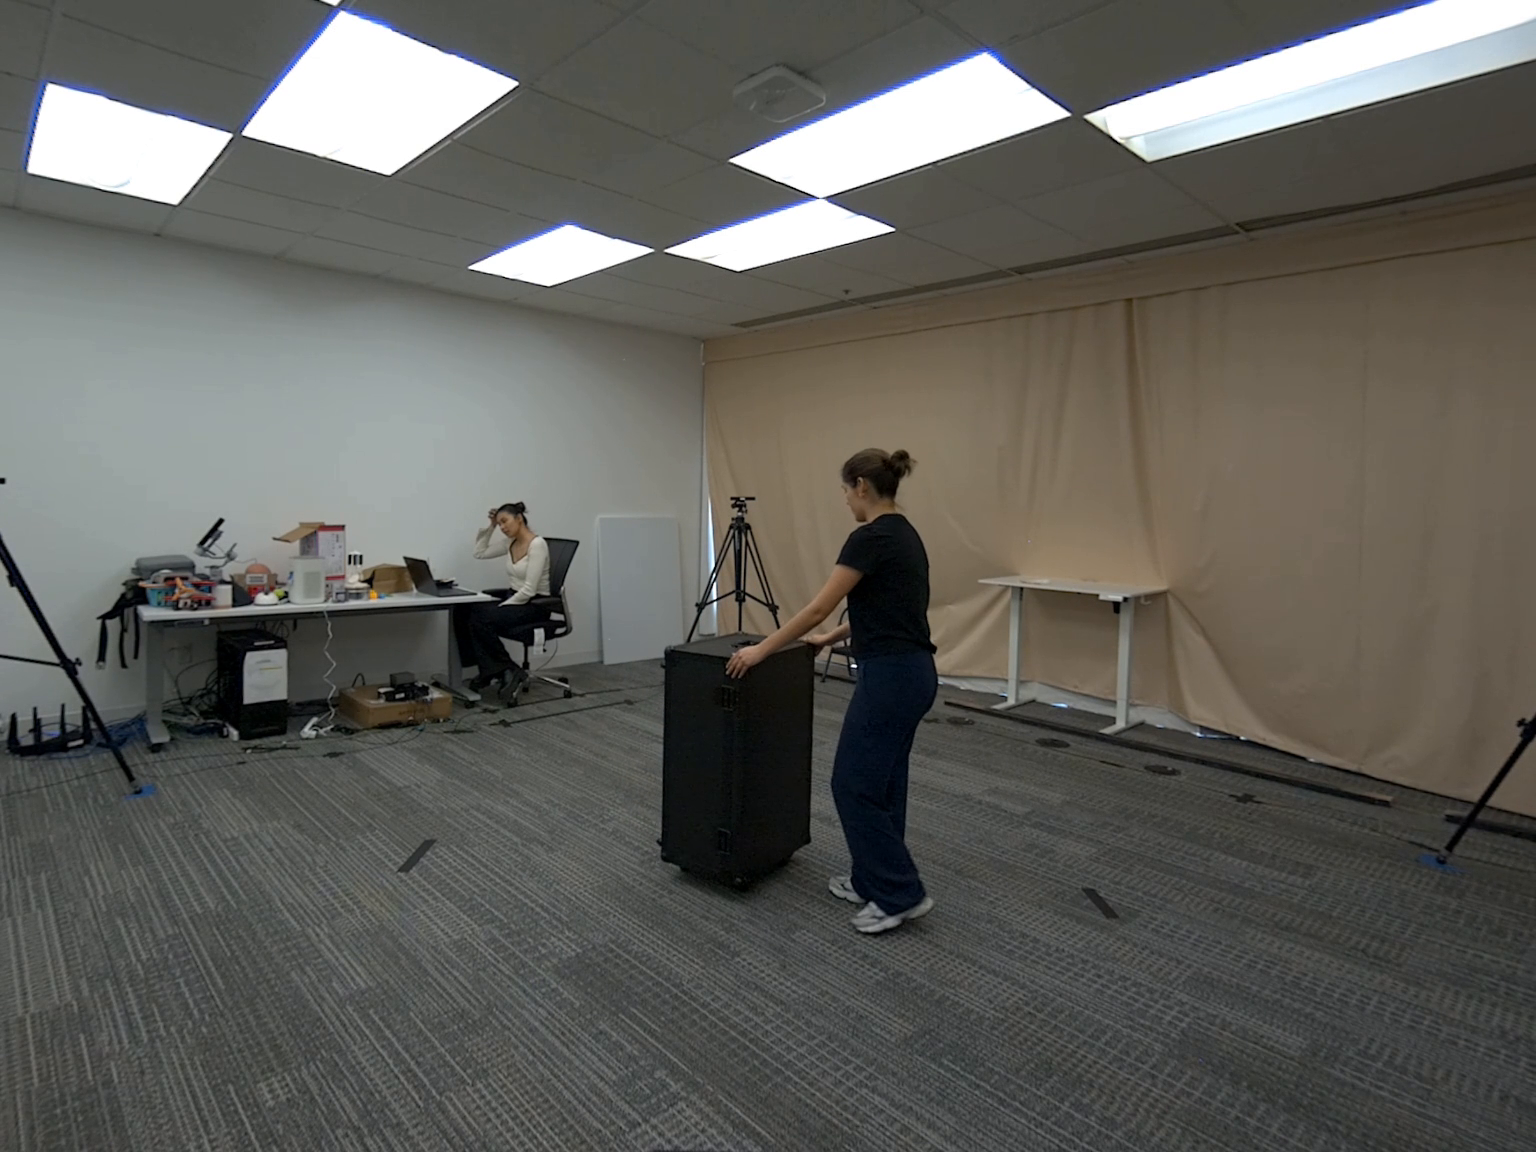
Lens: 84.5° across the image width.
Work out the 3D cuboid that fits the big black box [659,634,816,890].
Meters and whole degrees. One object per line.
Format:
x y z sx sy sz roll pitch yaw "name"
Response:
-0.118 0.679 3.129 0.405 0.859 0.510 3 4 33 "big black box"
